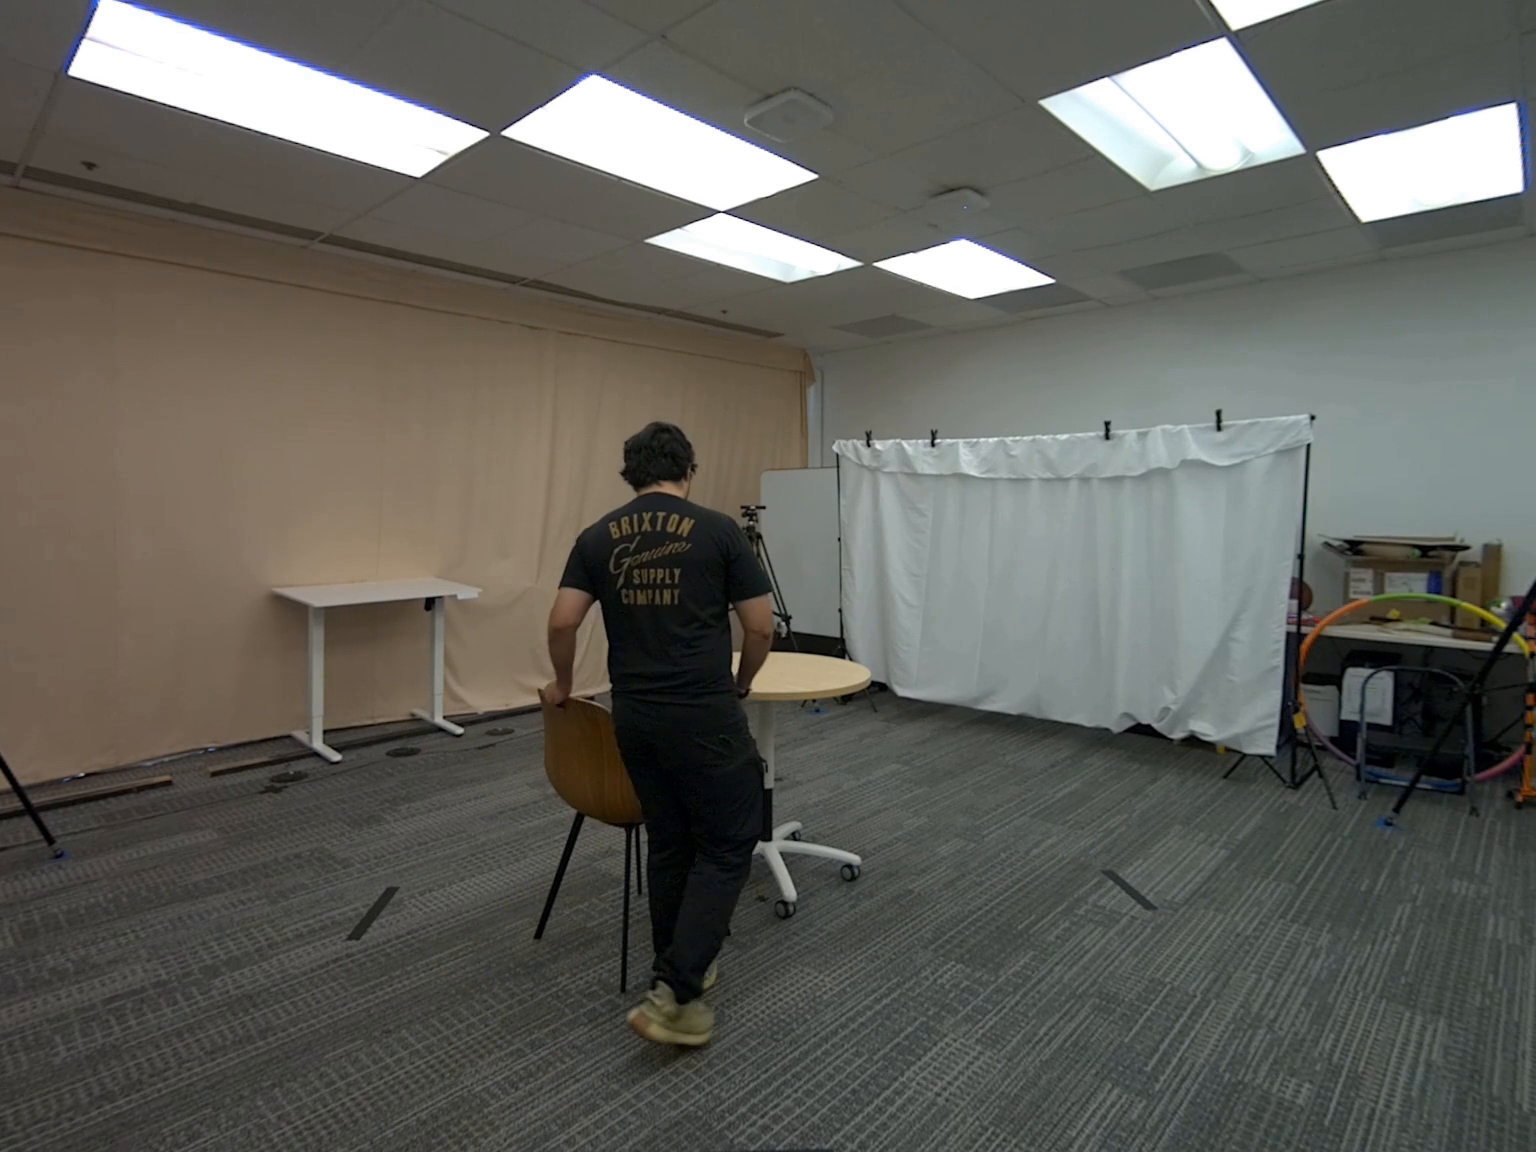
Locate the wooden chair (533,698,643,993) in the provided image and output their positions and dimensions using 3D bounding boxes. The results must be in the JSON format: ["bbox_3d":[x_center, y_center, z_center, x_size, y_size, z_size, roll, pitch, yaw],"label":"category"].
[{"bbox_3d":[-0.435,0.740,2.704,0.494,0.873,0.508,2,8,42],"label":"wooden chair"}]
